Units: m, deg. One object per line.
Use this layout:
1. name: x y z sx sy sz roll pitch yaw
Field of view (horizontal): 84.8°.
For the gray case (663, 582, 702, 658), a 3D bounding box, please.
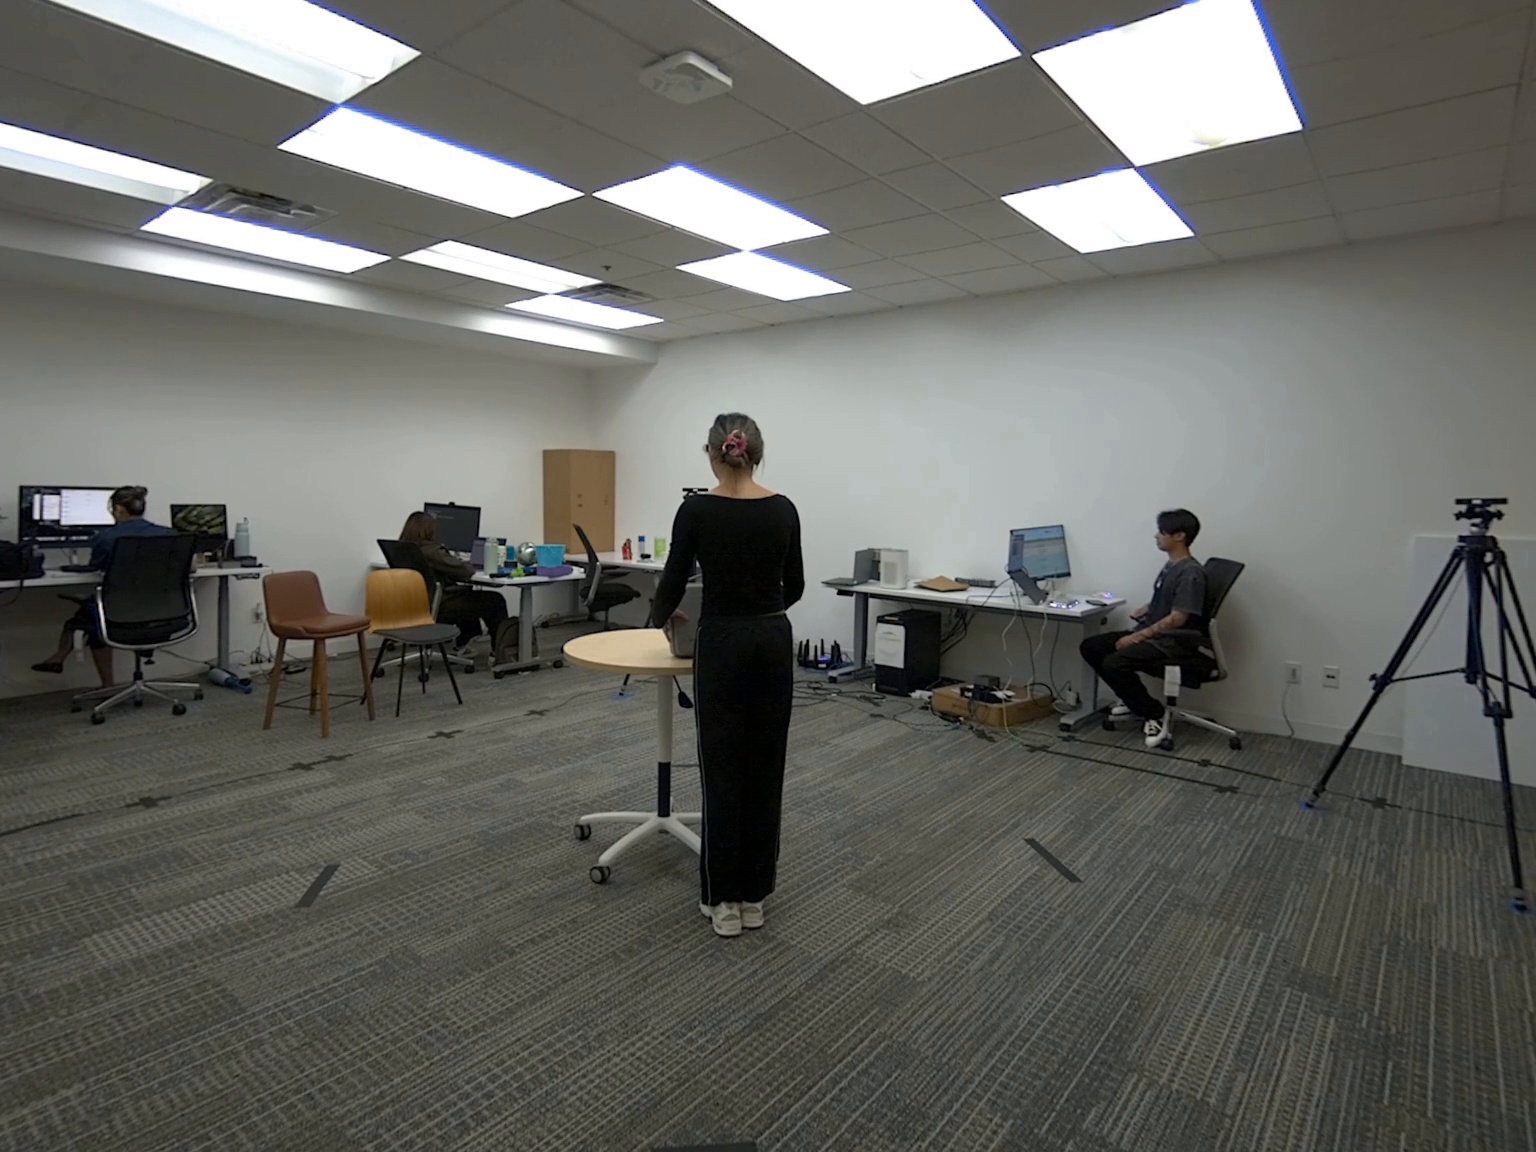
1. gray case: -0.246 0.154 3.058 0.251 0.263 0.105 -1 -10 -21
